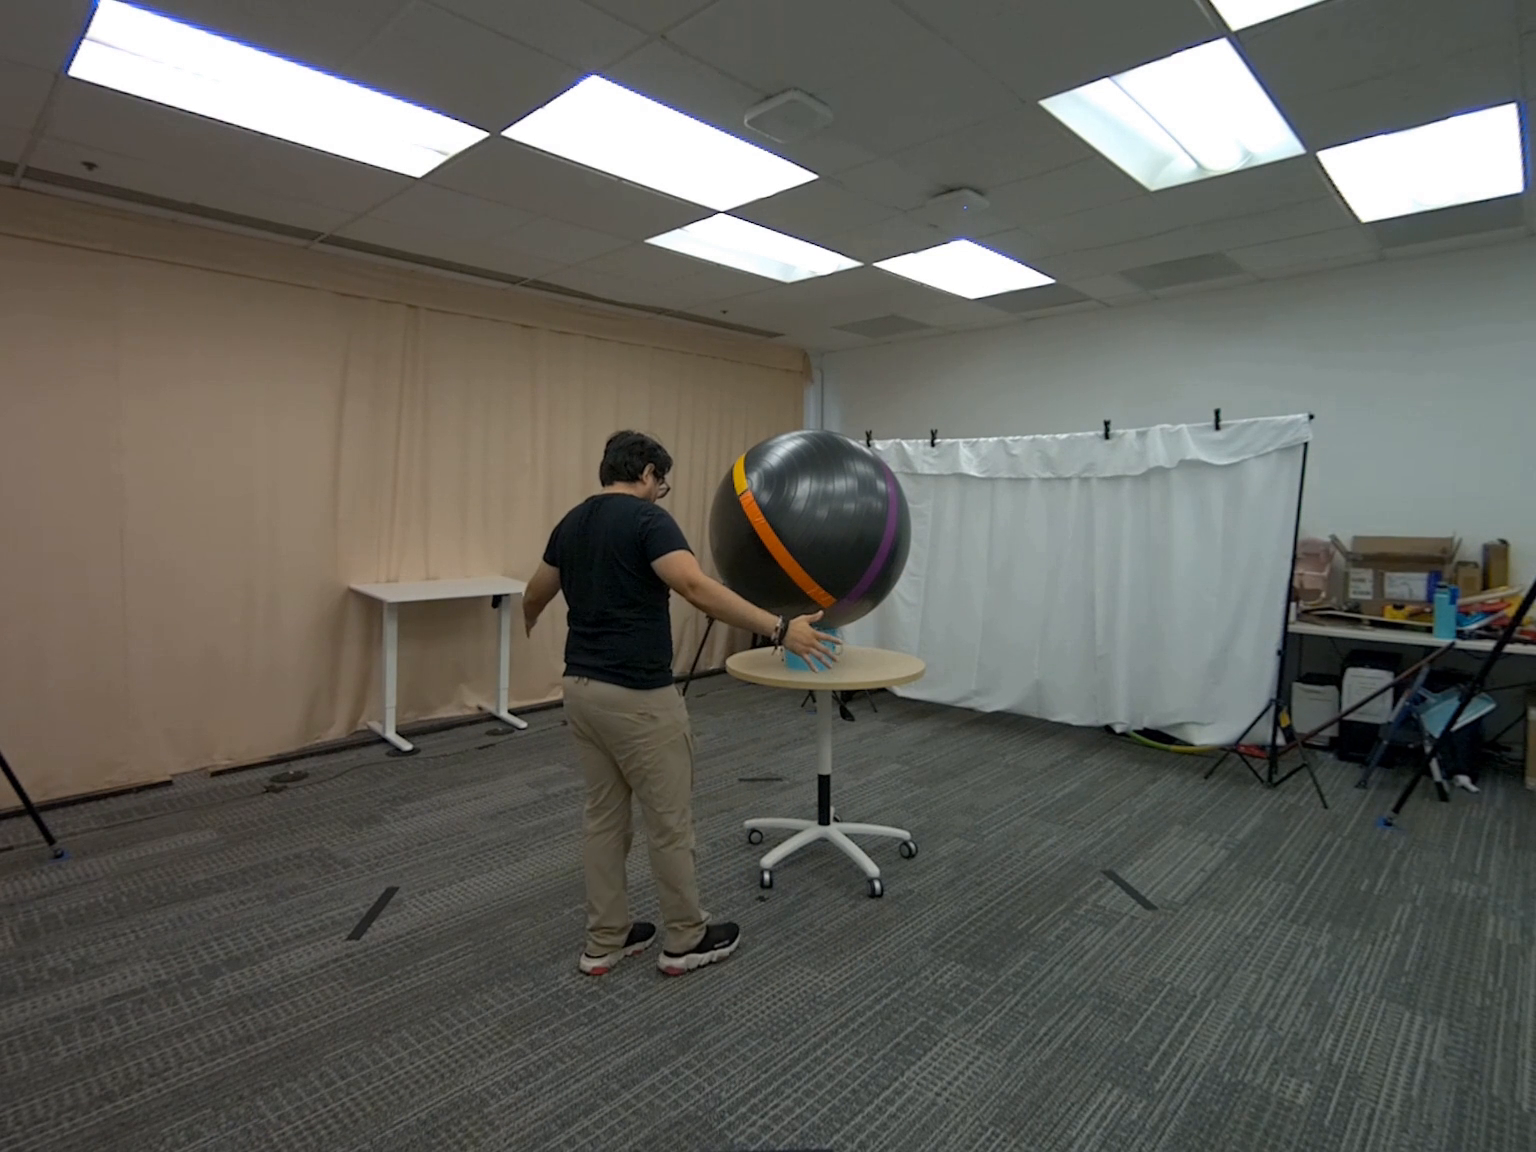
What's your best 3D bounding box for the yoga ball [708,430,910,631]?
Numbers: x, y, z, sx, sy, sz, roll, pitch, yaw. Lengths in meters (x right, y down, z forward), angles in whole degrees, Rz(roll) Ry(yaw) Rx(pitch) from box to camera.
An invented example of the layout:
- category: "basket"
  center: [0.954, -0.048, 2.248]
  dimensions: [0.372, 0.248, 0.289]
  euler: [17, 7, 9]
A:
- category: "yoga ball"
  center: [0.152, -0.165, 3.176]
  dimensions: [0.757, 0.756, 0.760]
  euler: [0, 4, -2]
